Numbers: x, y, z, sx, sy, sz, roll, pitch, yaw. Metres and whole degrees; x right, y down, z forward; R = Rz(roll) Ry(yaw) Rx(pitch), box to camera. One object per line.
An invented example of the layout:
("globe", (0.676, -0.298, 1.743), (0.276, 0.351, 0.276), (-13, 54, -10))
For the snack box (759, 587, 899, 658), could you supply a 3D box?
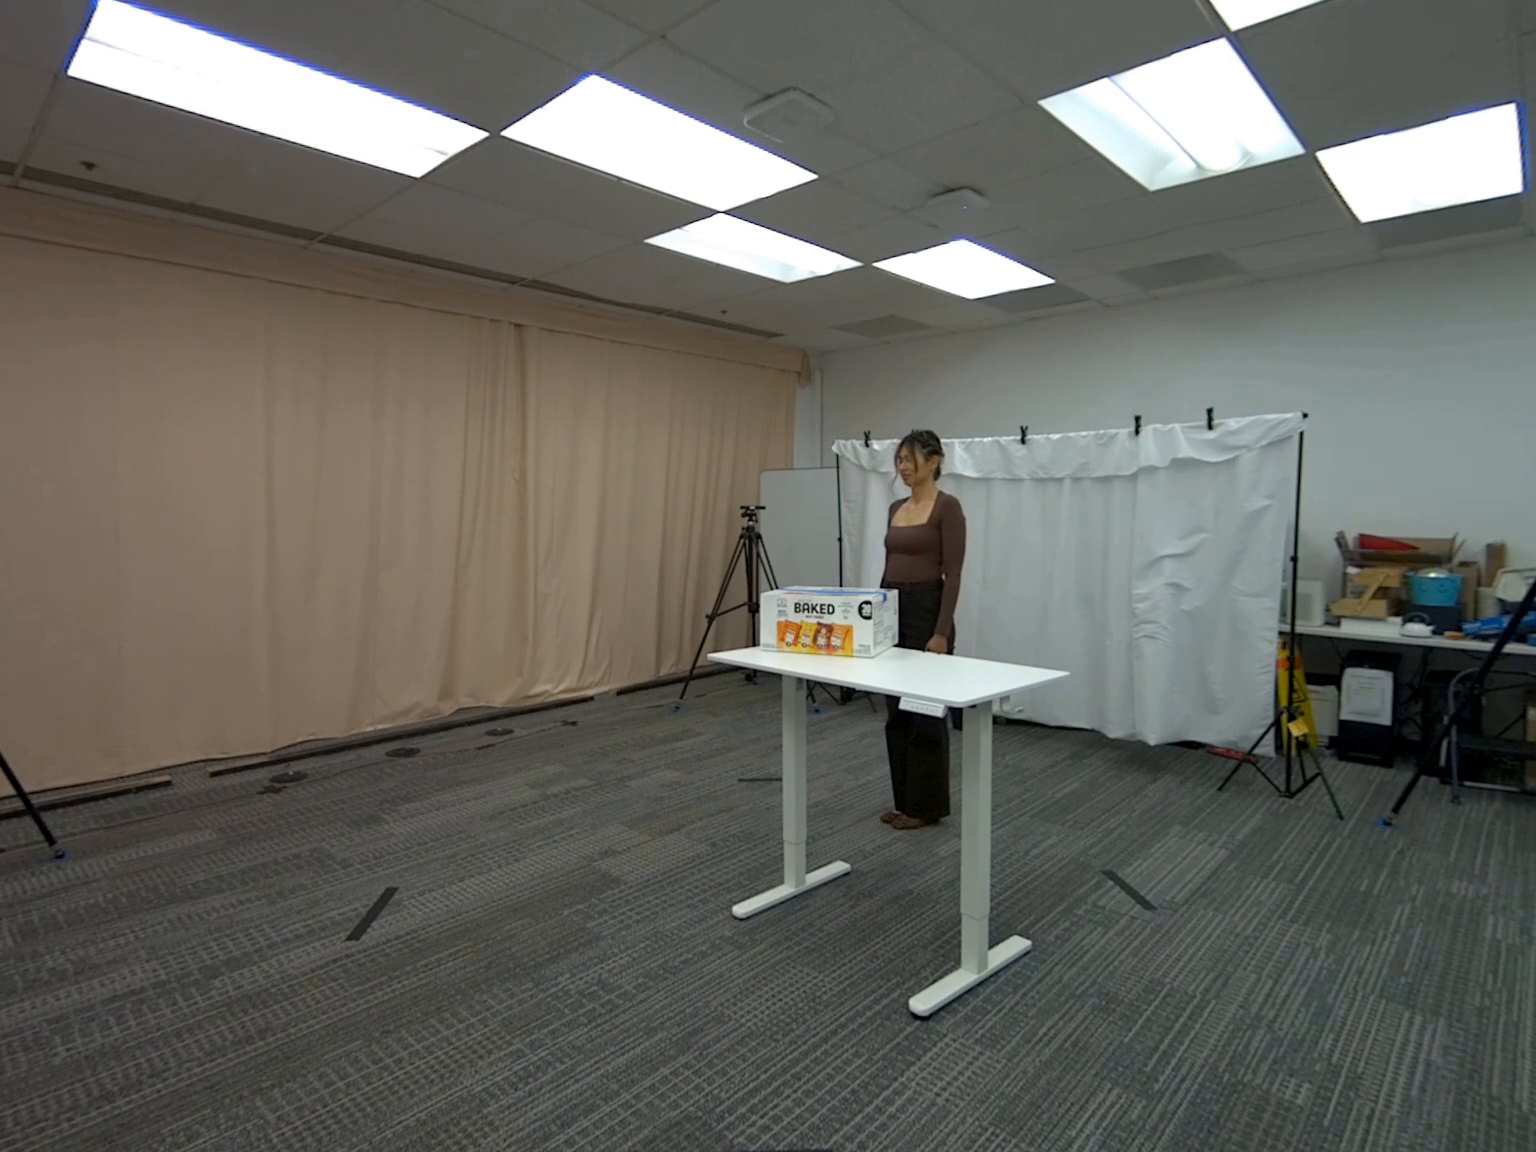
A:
("snack box", (0.230, 0.157, 3.033), (0.415, 0.205, 0.332), (2, 5, 25))
